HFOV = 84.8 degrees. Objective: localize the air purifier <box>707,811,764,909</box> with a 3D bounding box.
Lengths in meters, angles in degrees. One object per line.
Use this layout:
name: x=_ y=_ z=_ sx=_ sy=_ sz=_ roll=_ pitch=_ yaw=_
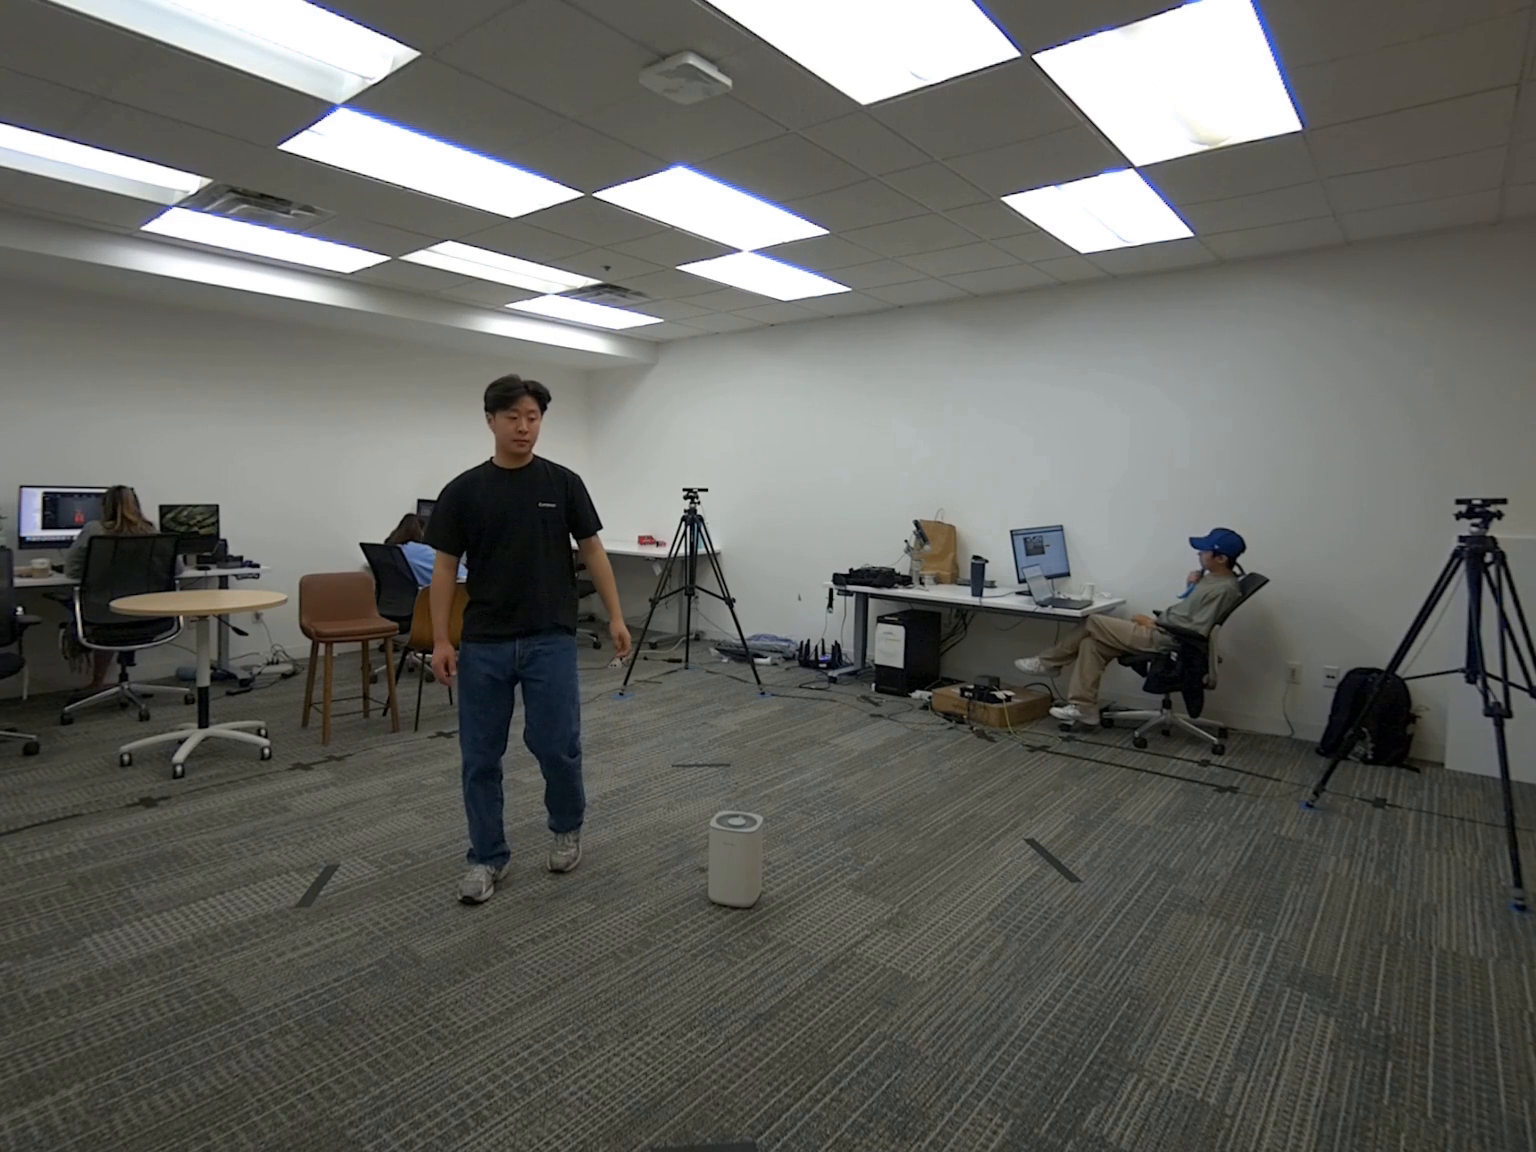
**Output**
air purifier: x=-0.118 y=0.957 z=2.891 sx=0.174 sy=0.265 sz=0.169 roll=3 pitch=3 yaw=15
